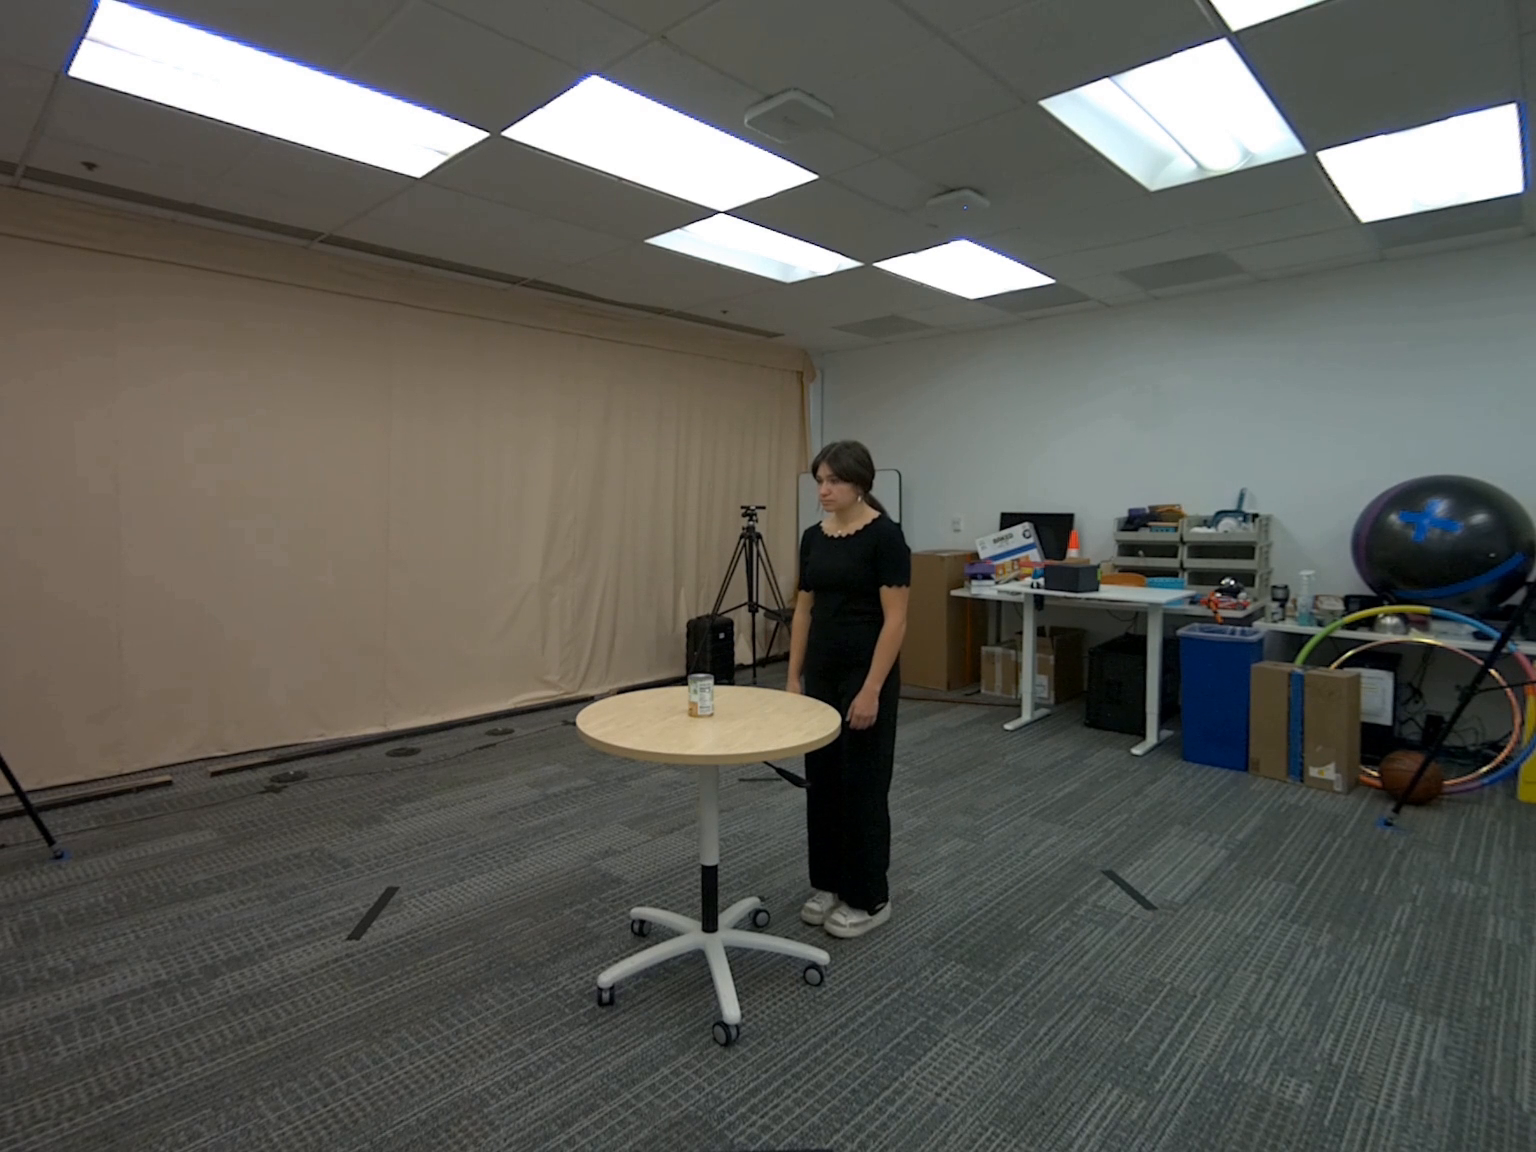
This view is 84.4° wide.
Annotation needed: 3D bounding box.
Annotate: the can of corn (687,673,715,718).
[{"bbox_3d":[-0.189,0.352,2.446,0.074,0.110,0.074,-3,5,-2],"label":"can of corn"}]
